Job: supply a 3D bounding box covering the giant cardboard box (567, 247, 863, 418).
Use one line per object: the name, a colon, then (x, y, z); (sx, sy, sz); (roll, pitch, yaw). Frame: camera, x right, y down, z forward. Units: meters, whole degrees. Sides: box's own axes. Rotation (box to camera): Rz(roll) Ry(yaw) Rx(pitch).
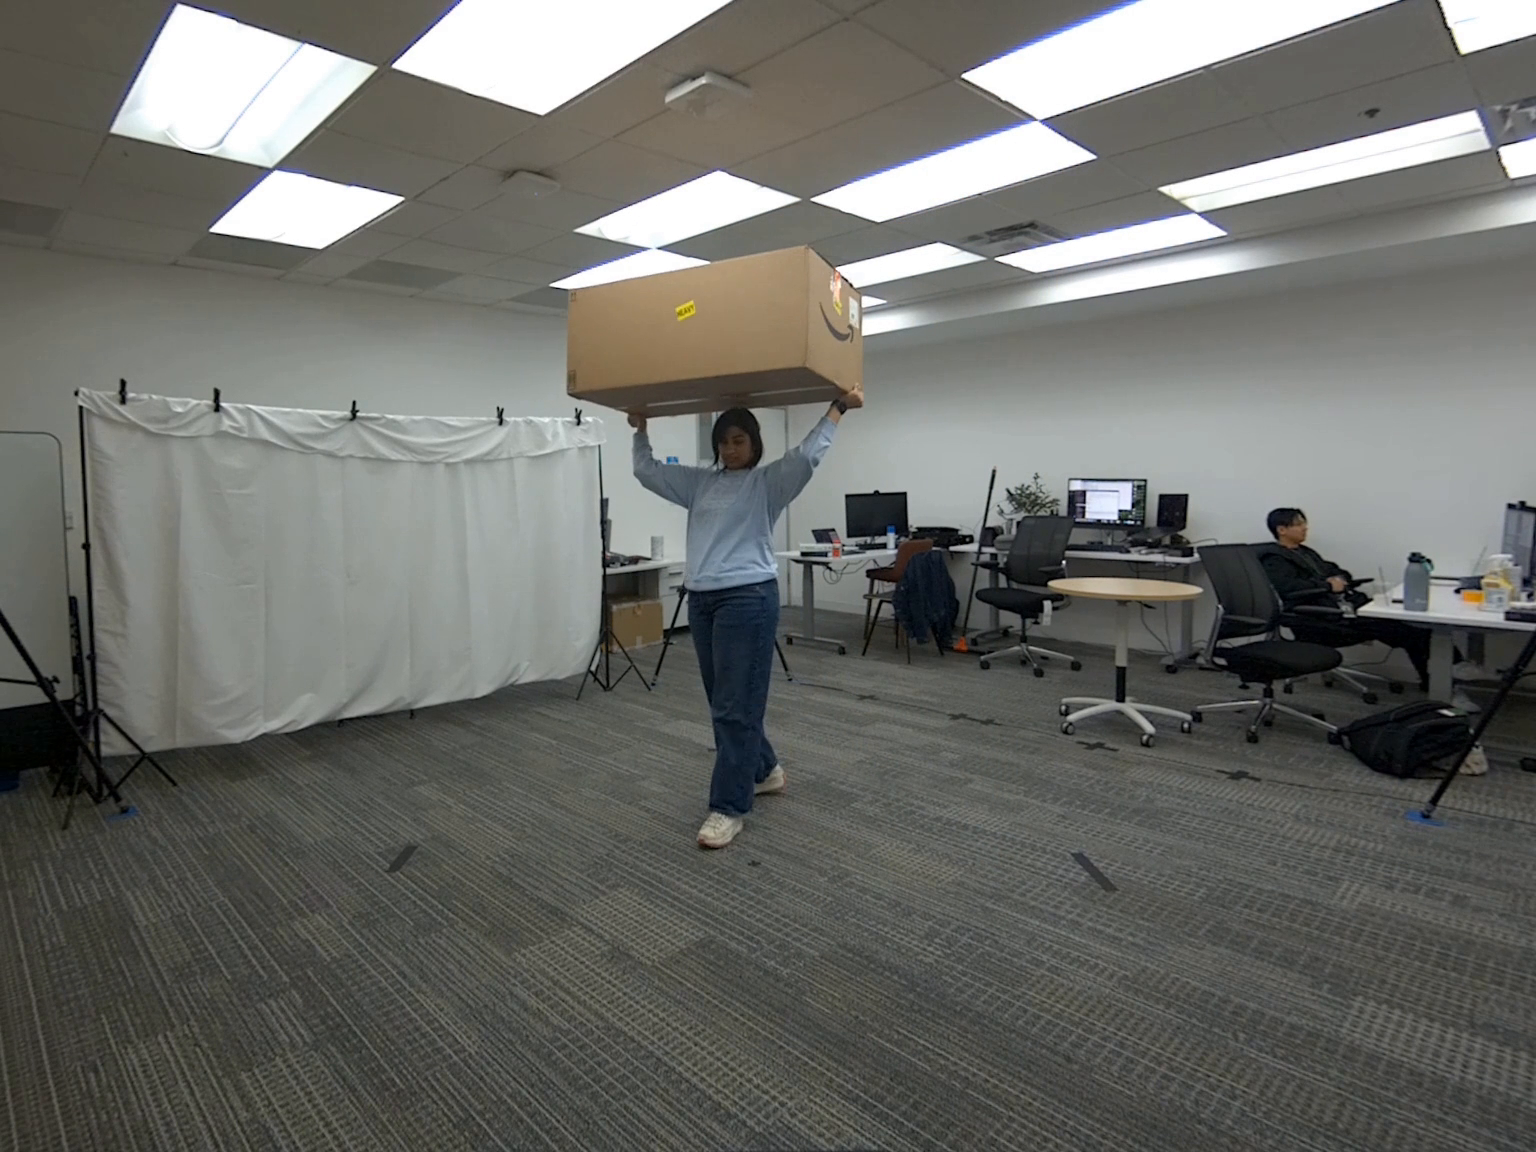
giant cardboard box: (-0.207, -0.915, 3.372); (1.051, 0.427, 0.563); (1, -1, 27)
